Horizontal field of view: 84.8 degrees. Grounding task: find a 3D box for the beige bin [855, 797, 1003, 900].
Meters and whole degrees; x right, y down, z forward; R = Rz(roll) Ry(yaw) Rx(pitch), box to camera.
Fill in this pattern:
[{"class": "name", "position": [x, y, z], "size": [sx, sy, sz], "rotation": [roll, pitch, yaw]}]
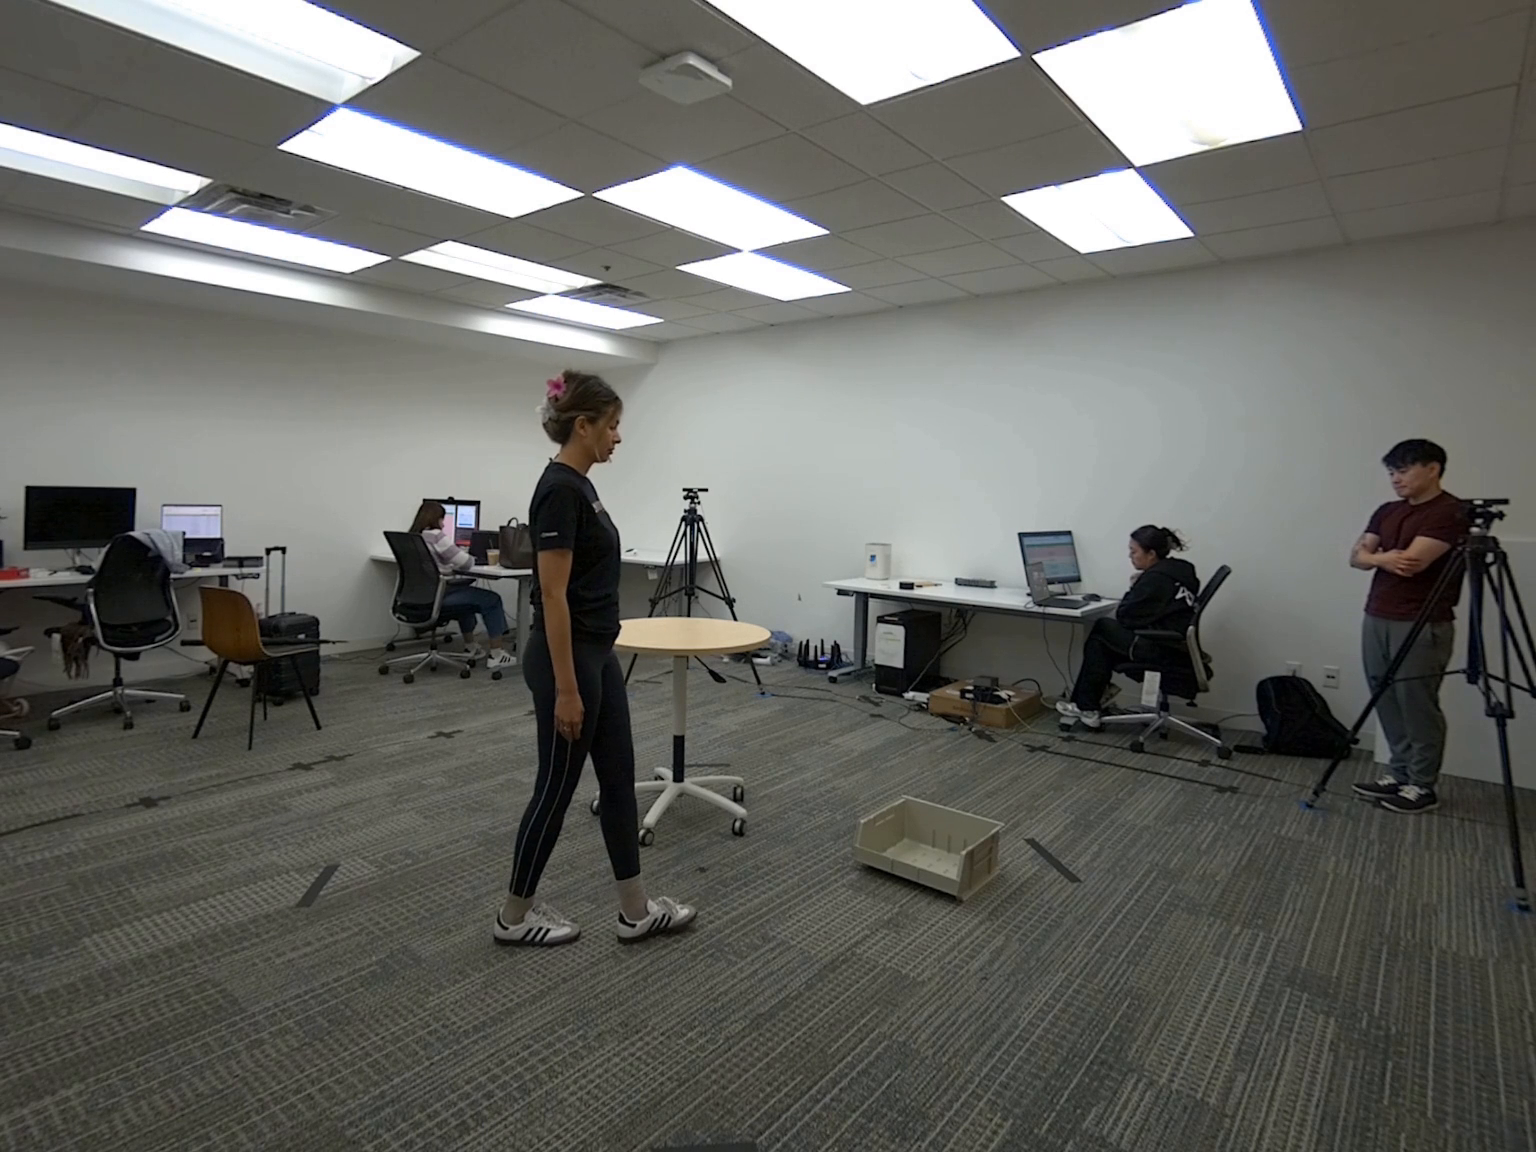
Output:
[{"class": "beige bin", "position": [0.588, 0.997, 3.143], "size": [0.436, 0.188, 0.366], "rotation": [4, 5, 39]}]
